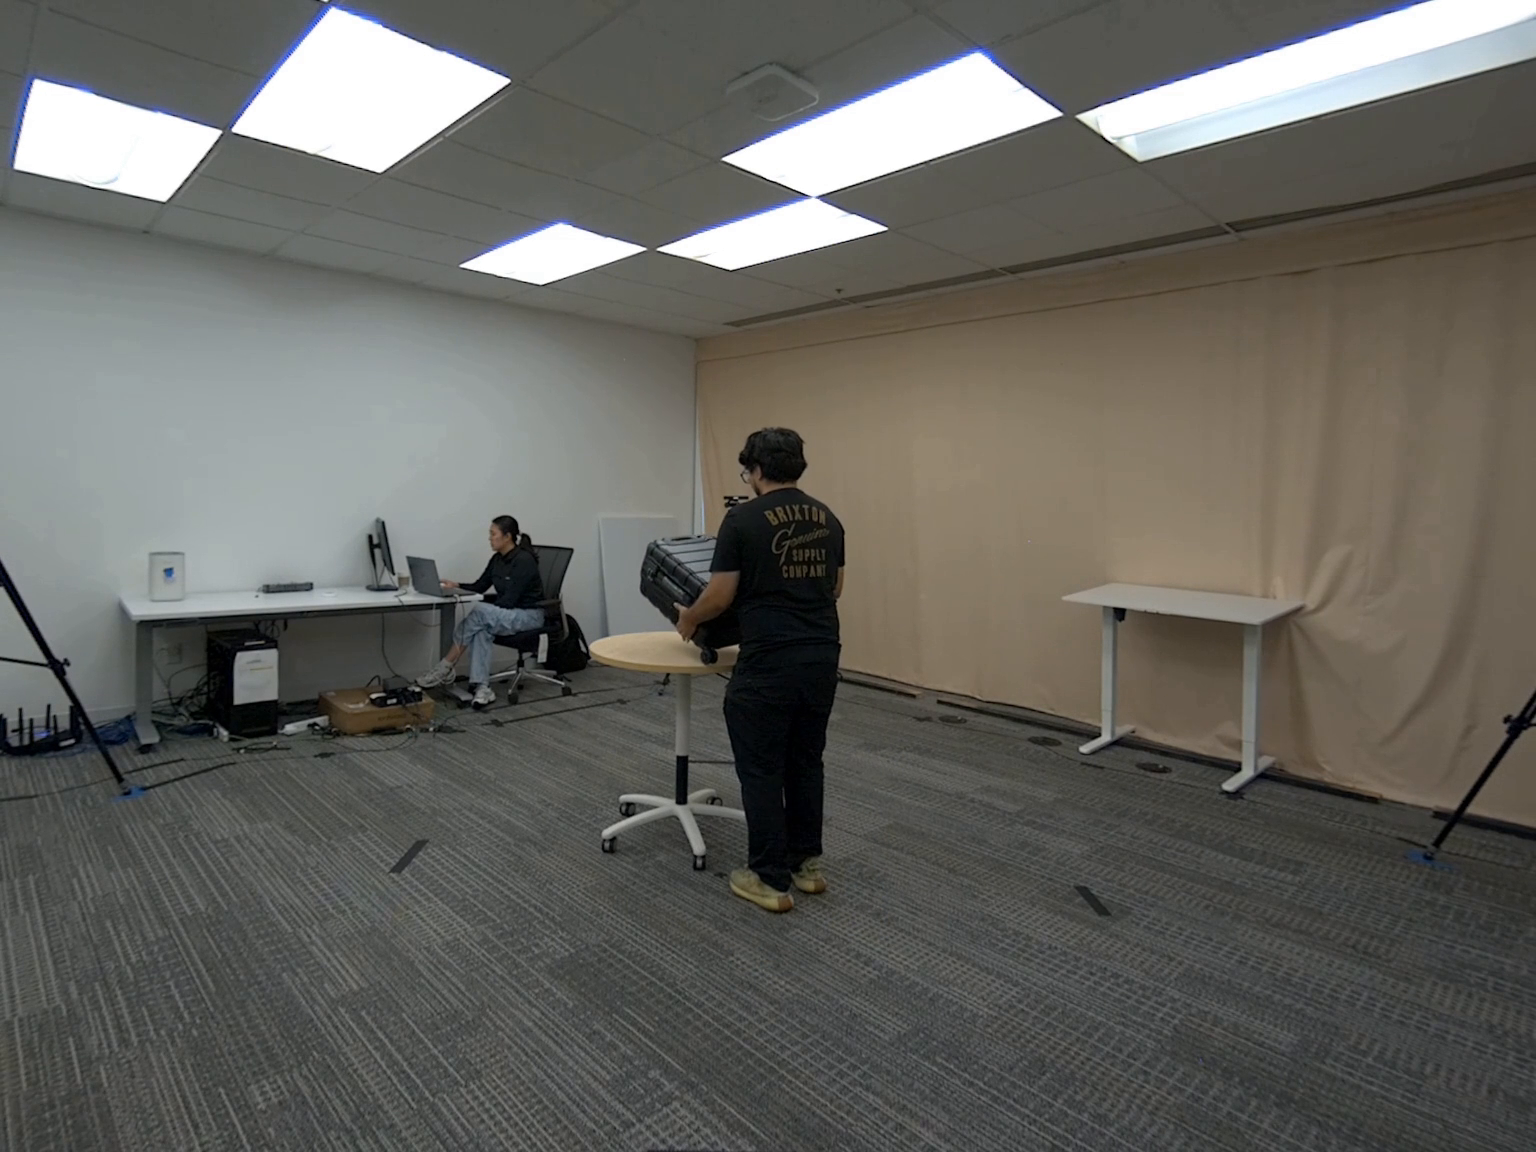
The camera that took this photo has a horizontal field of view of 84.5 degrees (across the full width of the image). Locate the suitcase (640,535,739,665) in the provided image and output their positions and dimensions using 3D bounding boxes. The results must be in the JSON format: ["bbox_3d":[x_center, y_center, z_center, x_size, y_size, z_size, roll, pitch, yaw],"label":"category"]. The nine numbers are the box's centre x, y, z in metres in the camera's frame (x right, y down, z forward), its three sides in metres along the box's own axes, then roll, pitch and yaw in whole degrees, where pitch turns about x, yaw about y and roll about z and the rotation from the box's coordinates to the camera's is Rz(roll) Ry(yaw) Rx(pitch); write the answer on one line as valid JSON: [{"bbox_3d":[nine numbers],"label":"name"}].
[{"bbox_3d":[-0.229,0.052,3.270,0.368,0.245,0.567,-9,34,-38],"label":"suitcase"}]
